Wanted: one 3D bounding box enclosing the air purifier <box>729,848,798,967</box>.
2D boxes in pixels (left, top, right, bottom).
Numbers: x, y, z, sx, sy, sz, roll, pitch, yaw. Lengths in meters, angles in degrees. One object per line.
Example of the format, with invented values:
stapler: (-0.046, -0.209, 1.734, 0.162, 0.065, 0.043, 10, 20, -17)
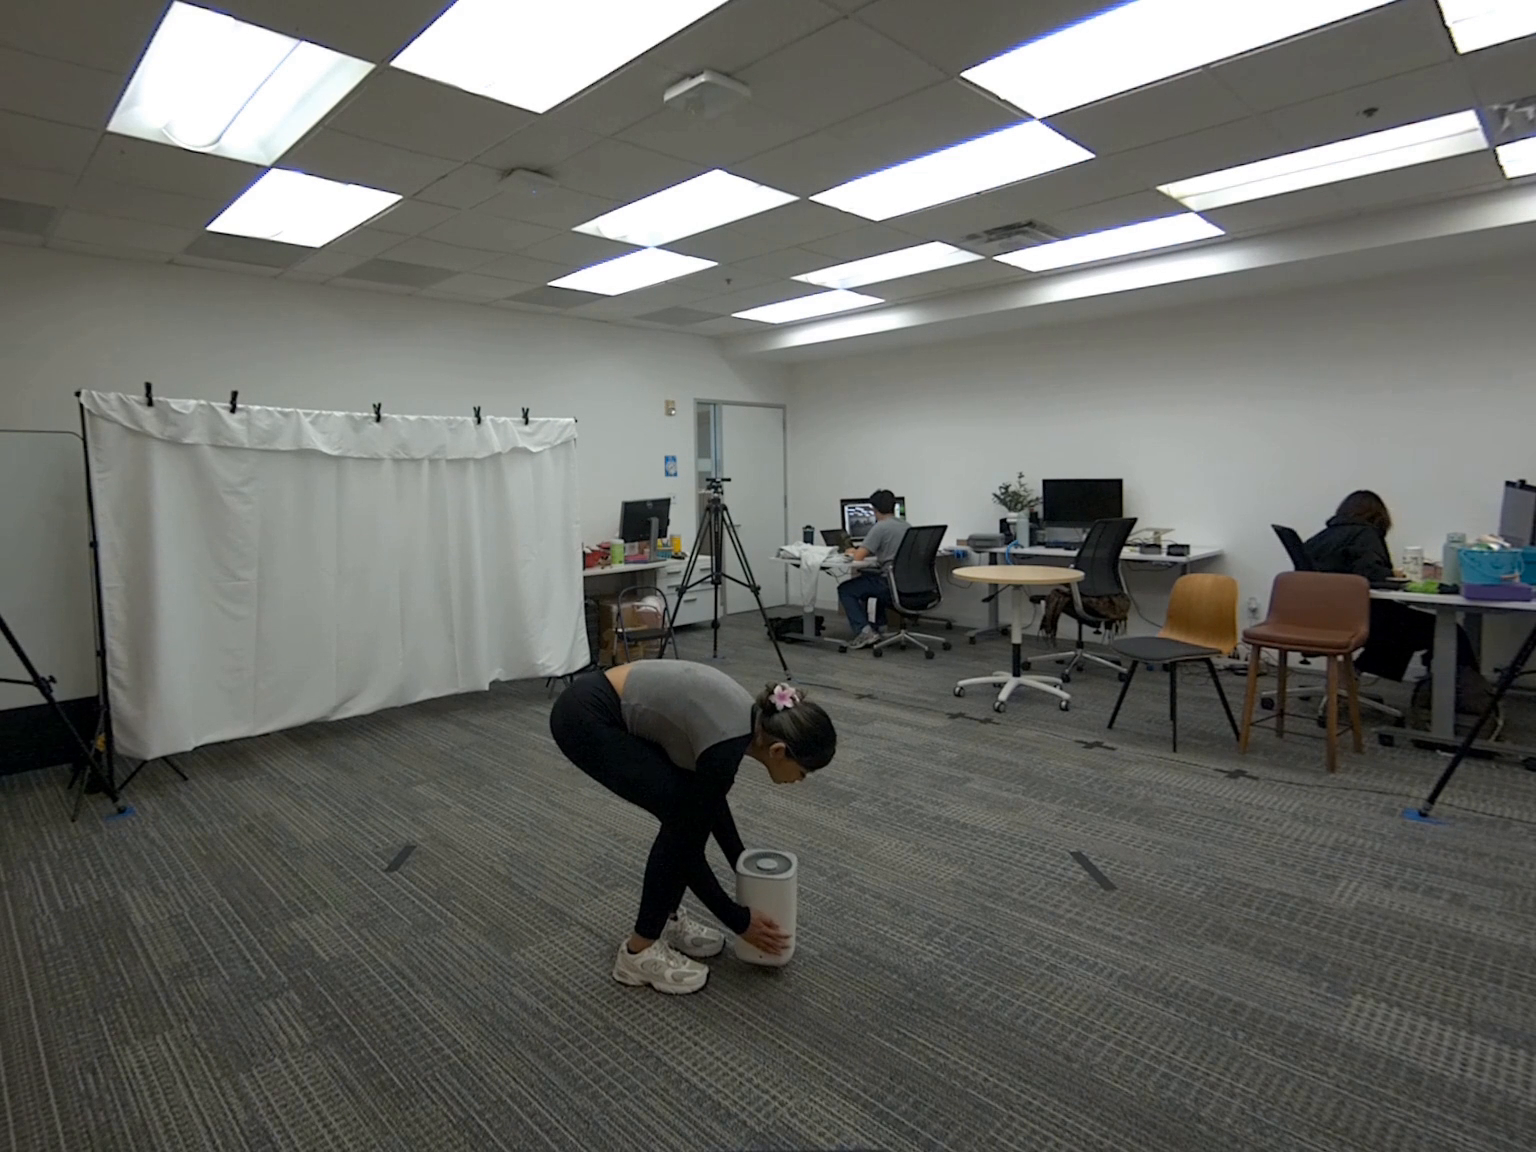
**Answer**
air purifier: (-0.005, 0.940, 2.448, 0.173, 0.264, 0.171, 3, 6, 9)
